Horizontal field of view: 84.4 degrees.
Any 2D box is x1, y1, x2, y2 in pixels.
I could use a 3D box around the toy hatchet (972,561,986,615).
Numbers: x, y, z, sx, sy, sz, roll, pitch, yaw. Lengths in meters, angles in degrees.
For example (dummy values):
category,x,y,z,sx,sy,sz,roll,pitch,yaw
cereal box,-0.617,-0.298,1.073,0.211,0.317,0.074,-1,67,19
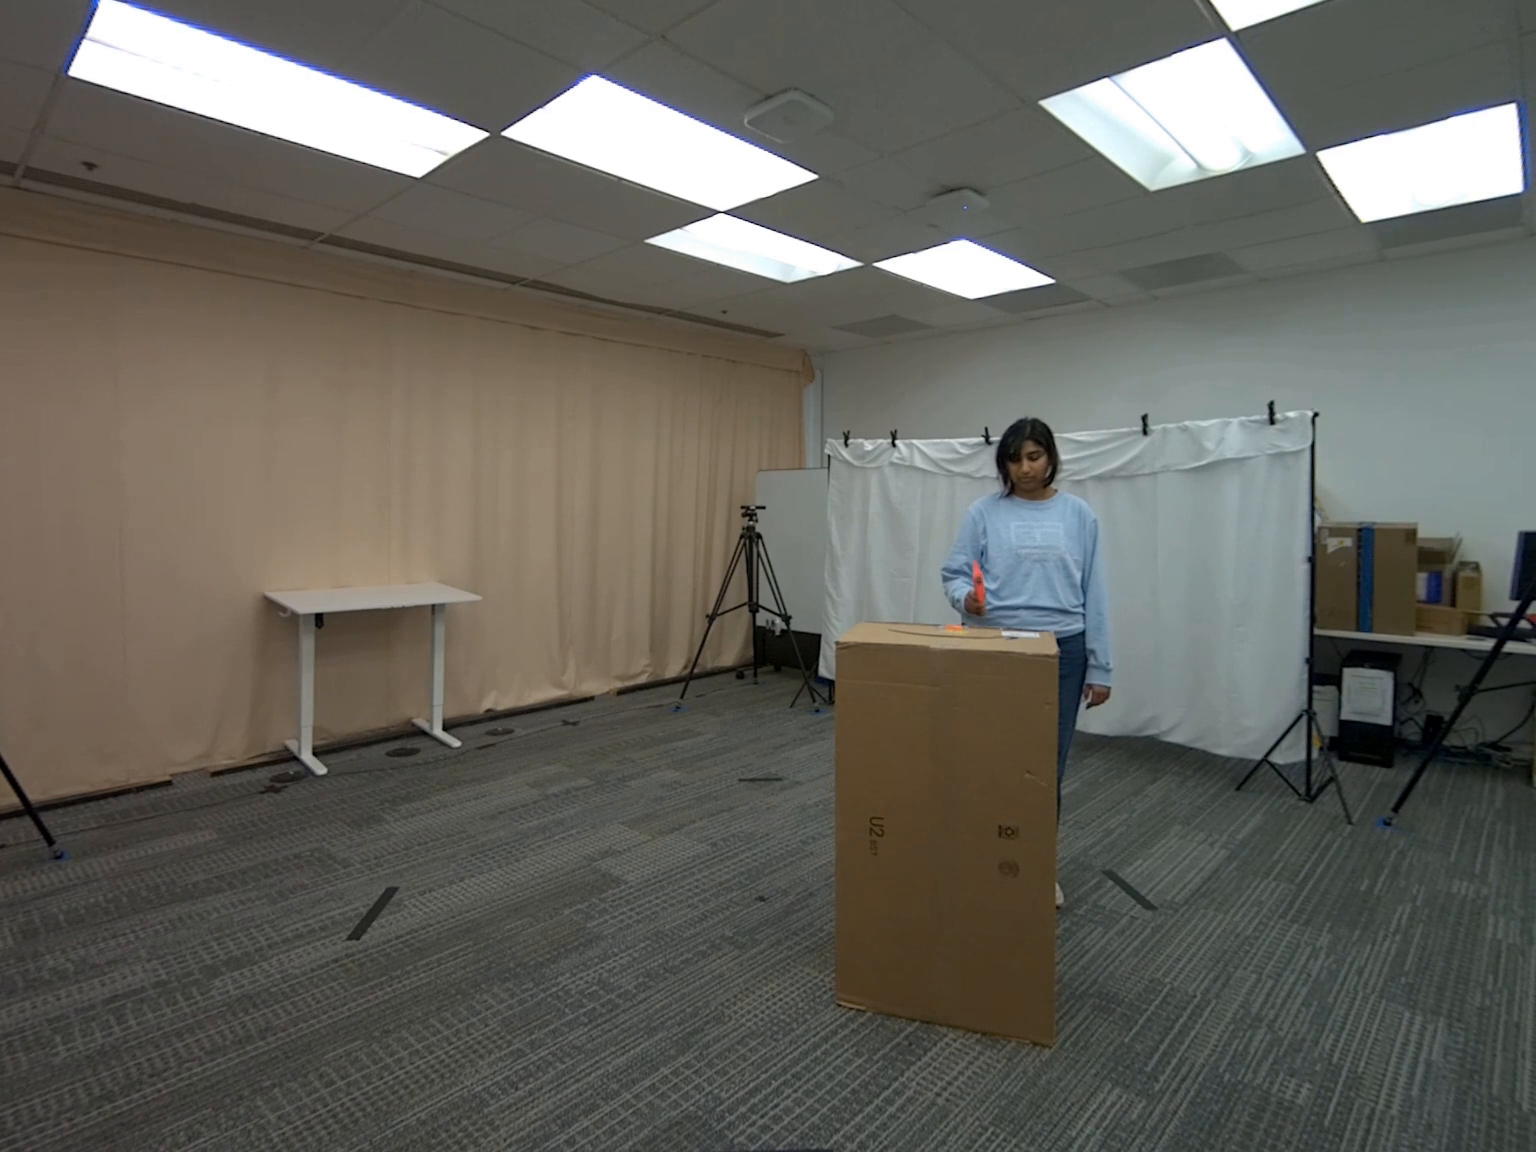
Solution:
category,x,y,z,sx,sy,sz,roll,pitch,yaw
toy hatchet,0.686,0.074,2.679,0.030,0.134,0.263,-11,-36,4
